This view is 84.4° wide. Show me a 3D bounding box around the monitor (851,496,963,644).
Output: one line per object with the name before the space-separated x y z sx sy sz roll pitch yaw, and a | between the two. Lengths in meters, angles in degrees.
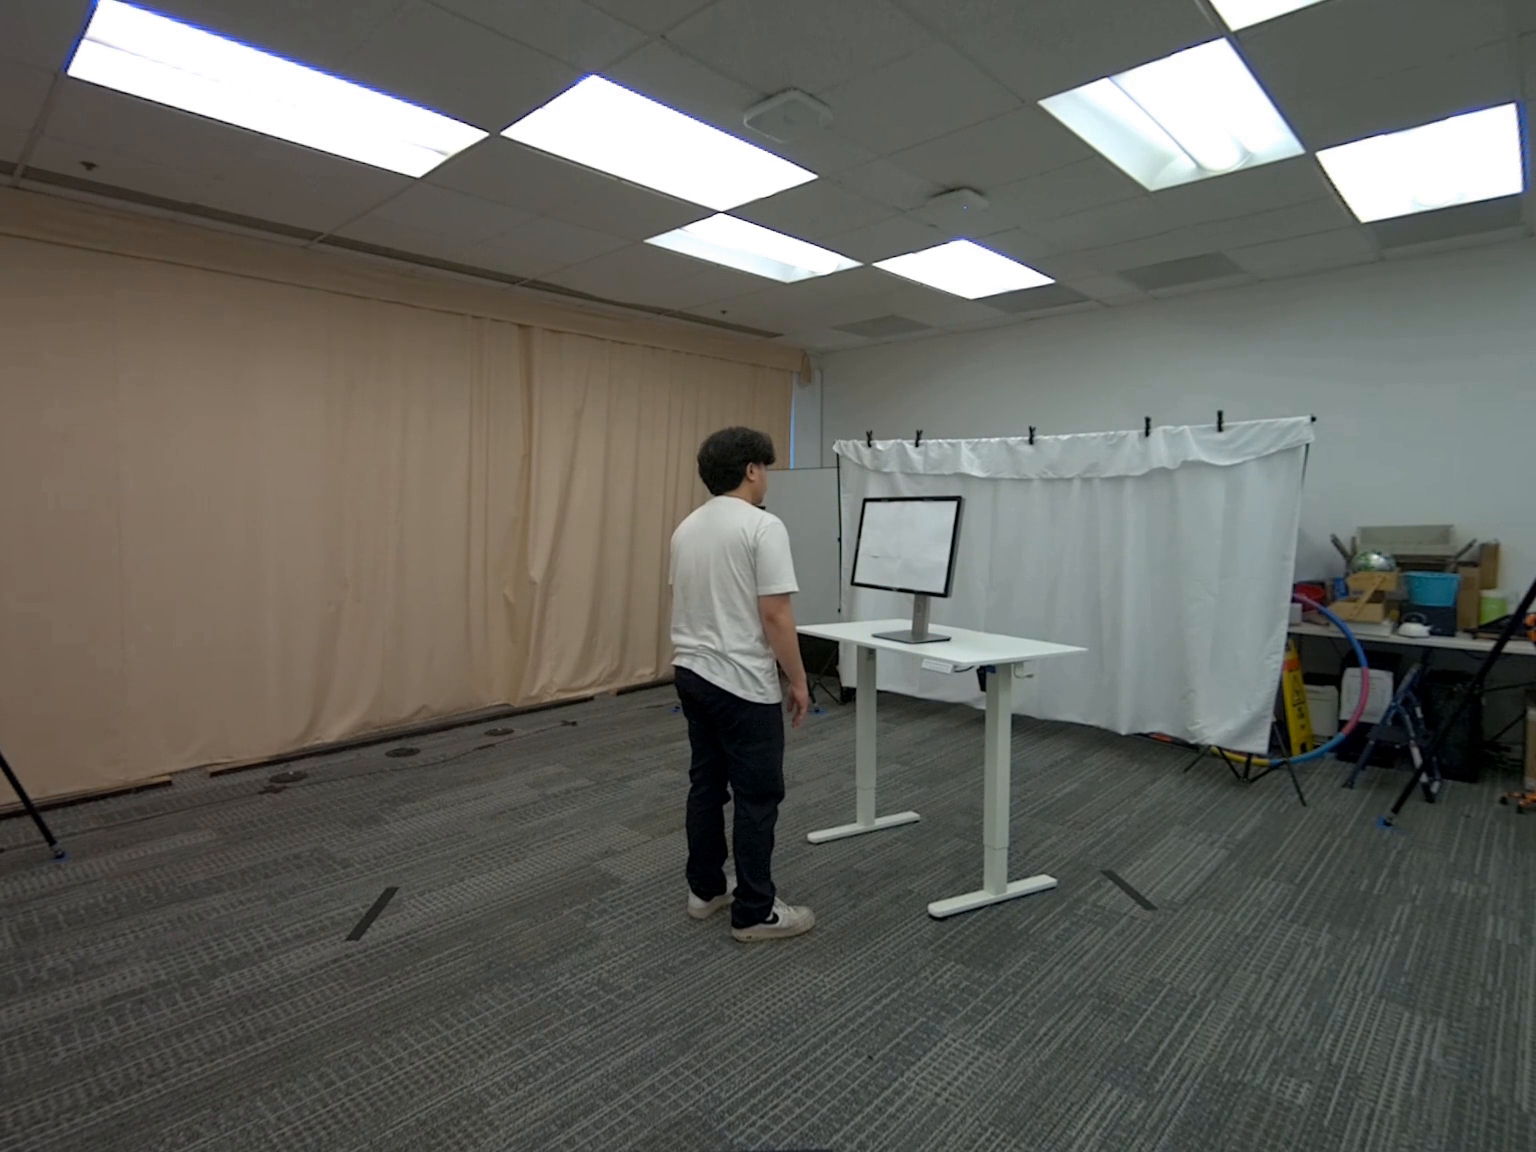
monitor | 0.572 -0.025 3.223 0.204 0.554 0.582 4 1 -31
